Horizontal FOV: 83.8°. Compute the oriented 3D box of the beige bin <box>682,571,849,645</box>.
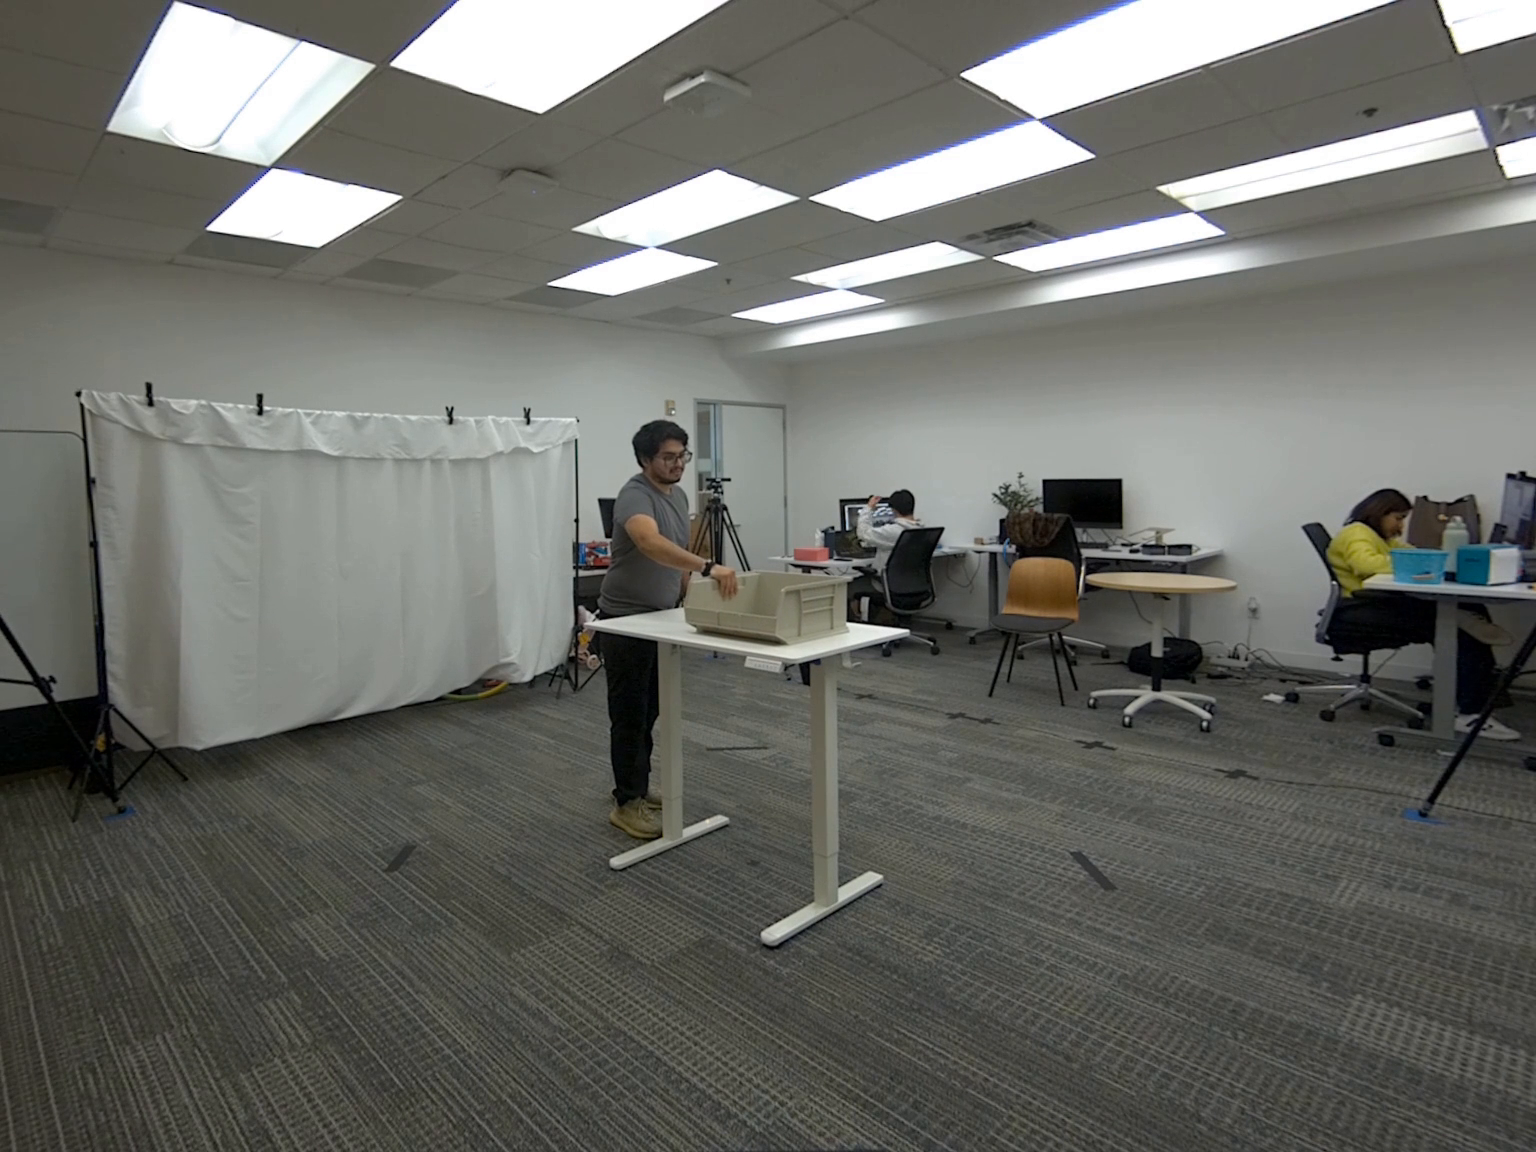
[{"bbox_3d":[-0.001,0.100,2.828,0.435,0.188,0.367,4,6,44],"label":"beige bin"}]
